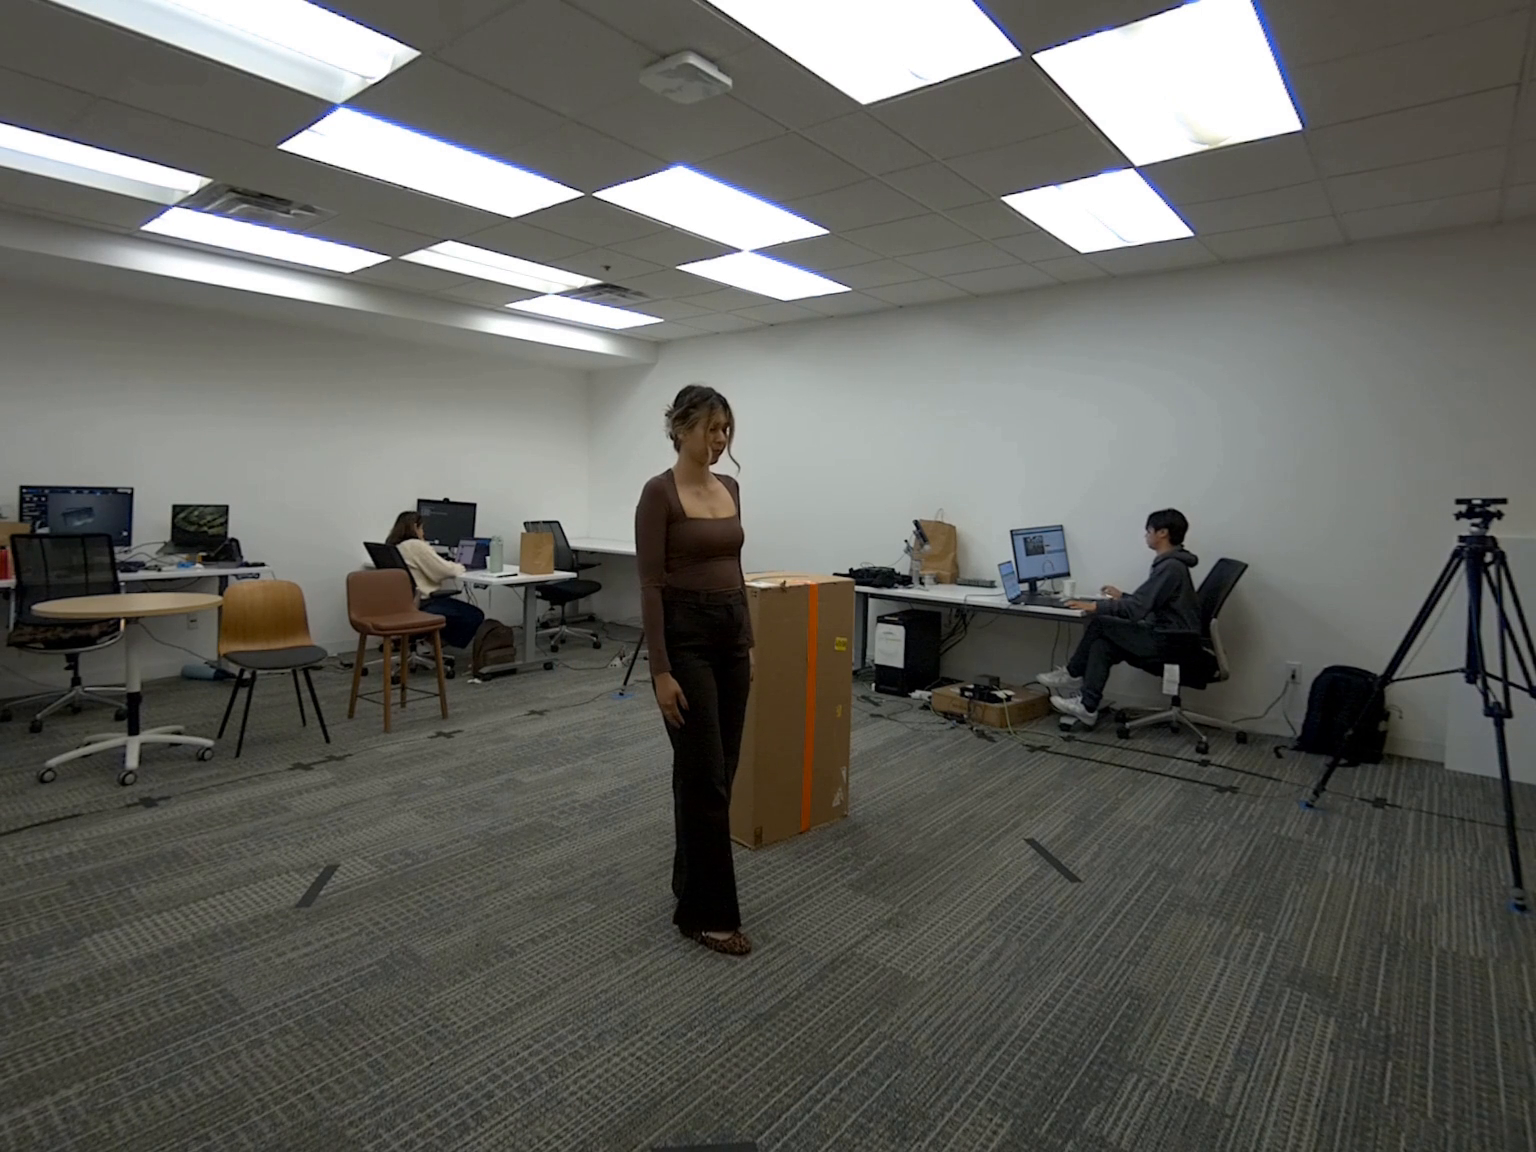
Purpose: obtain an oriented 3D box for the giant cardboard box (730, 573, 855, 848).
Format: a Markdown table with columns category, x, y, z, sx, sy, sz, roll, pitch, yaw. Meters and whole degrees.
| category | x | y | z | sx | sy | sz | roll | pitch | yaw |
| --- | --- | --- | --- | --- | --- | --- | --- | --- | --- |
| giant cardboard box | 0.004 | 0.515 | 3.604 | 0.566 | 1.024 | 0.462 | -2 | 5 | -42 |
